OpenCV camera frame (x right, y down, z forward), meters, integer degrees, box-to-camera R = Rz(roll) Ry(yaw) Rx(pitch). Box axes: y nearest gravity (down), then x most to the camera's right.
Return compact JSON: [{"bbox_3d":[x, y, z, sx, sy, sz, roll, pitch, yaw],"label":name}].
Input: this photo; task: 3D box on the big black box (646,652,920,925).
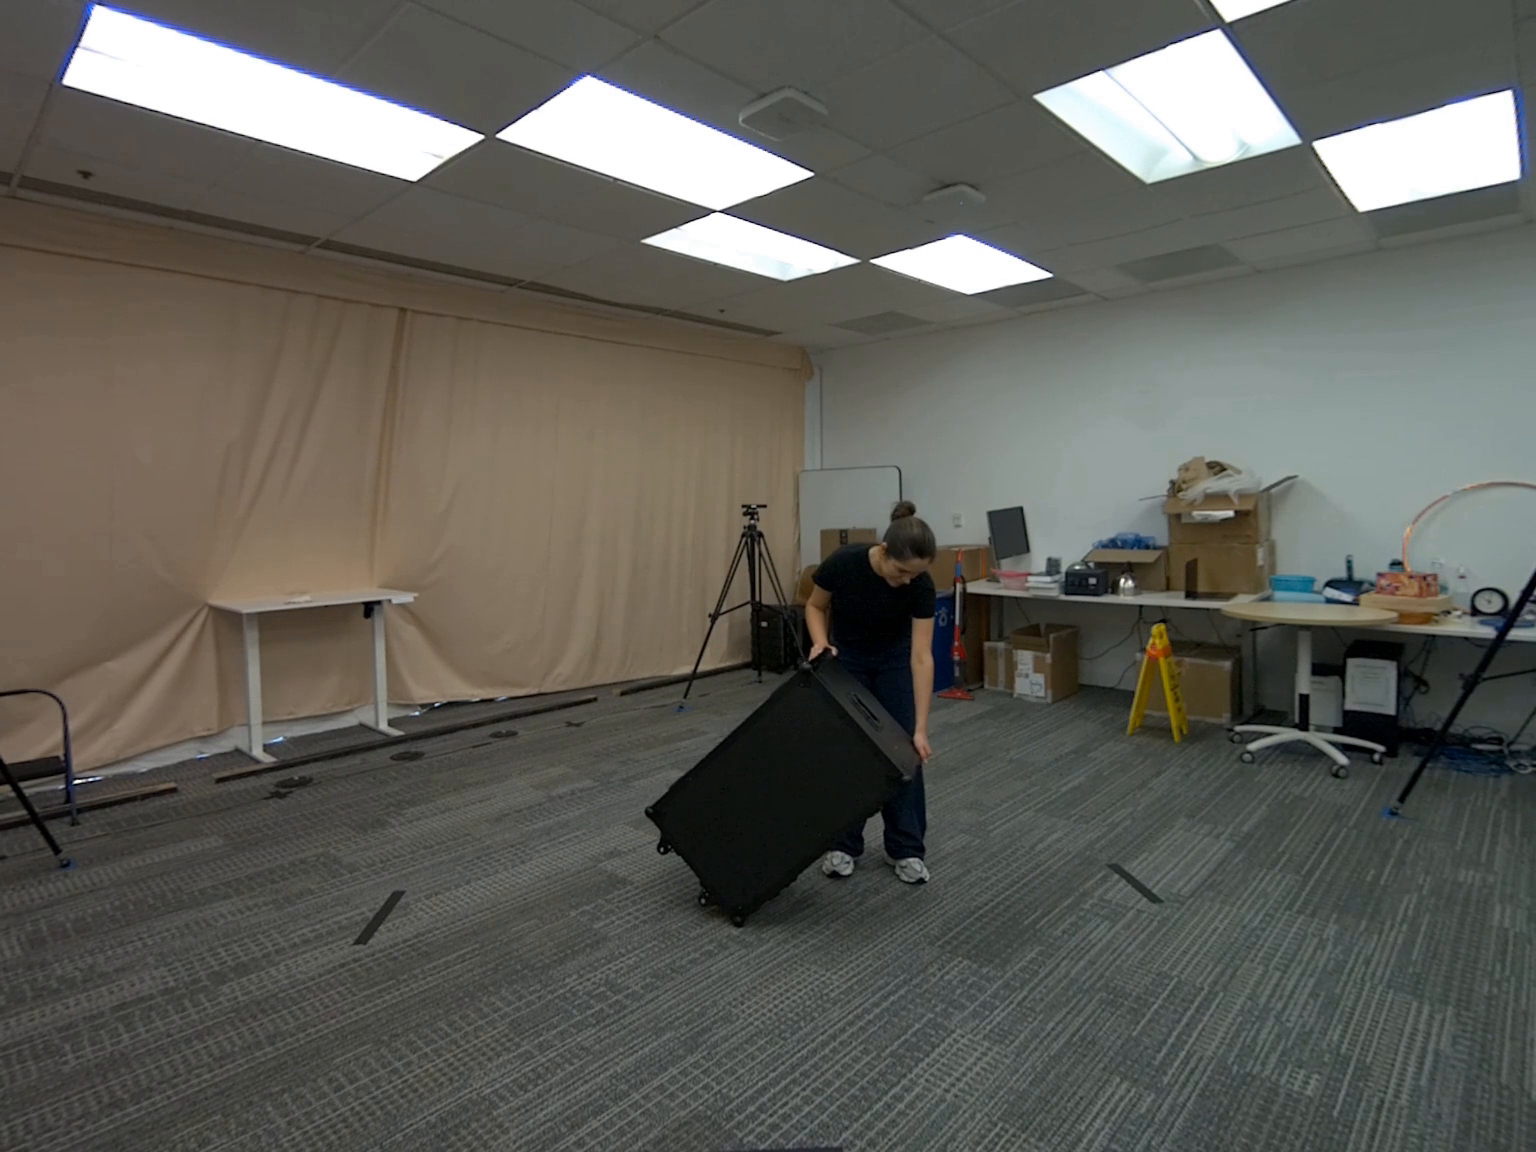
[{"bbox_3d":[0.045,0.726,2.903,0.865,0.529,0.389,-44,-11,15],"label":"big black box"}]
